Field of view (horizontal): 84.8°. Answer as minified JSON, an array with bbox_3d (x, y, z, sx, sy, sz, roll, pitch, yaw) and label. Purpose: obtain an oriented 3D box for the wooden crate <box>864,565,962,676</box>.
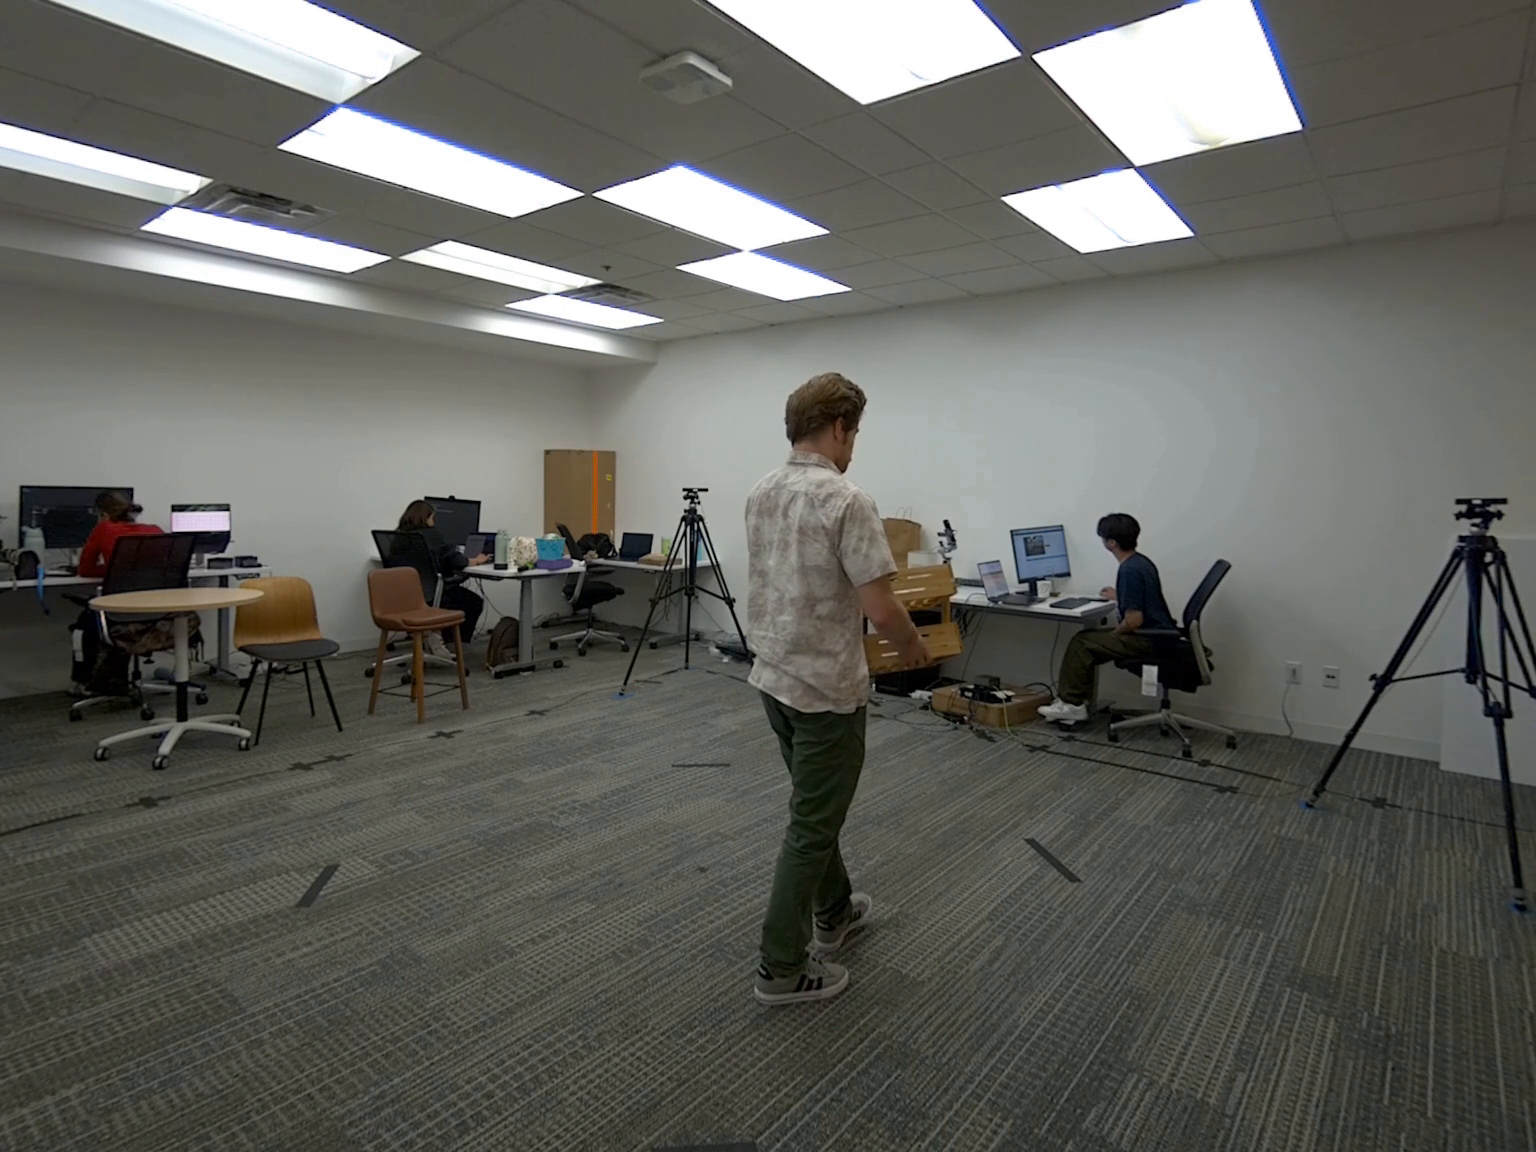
[{"bbox_3d":[0.390,0.136,2.596,0.320,0.278,0.301,-7,-14,-15],"label":"wooden crate"}]
